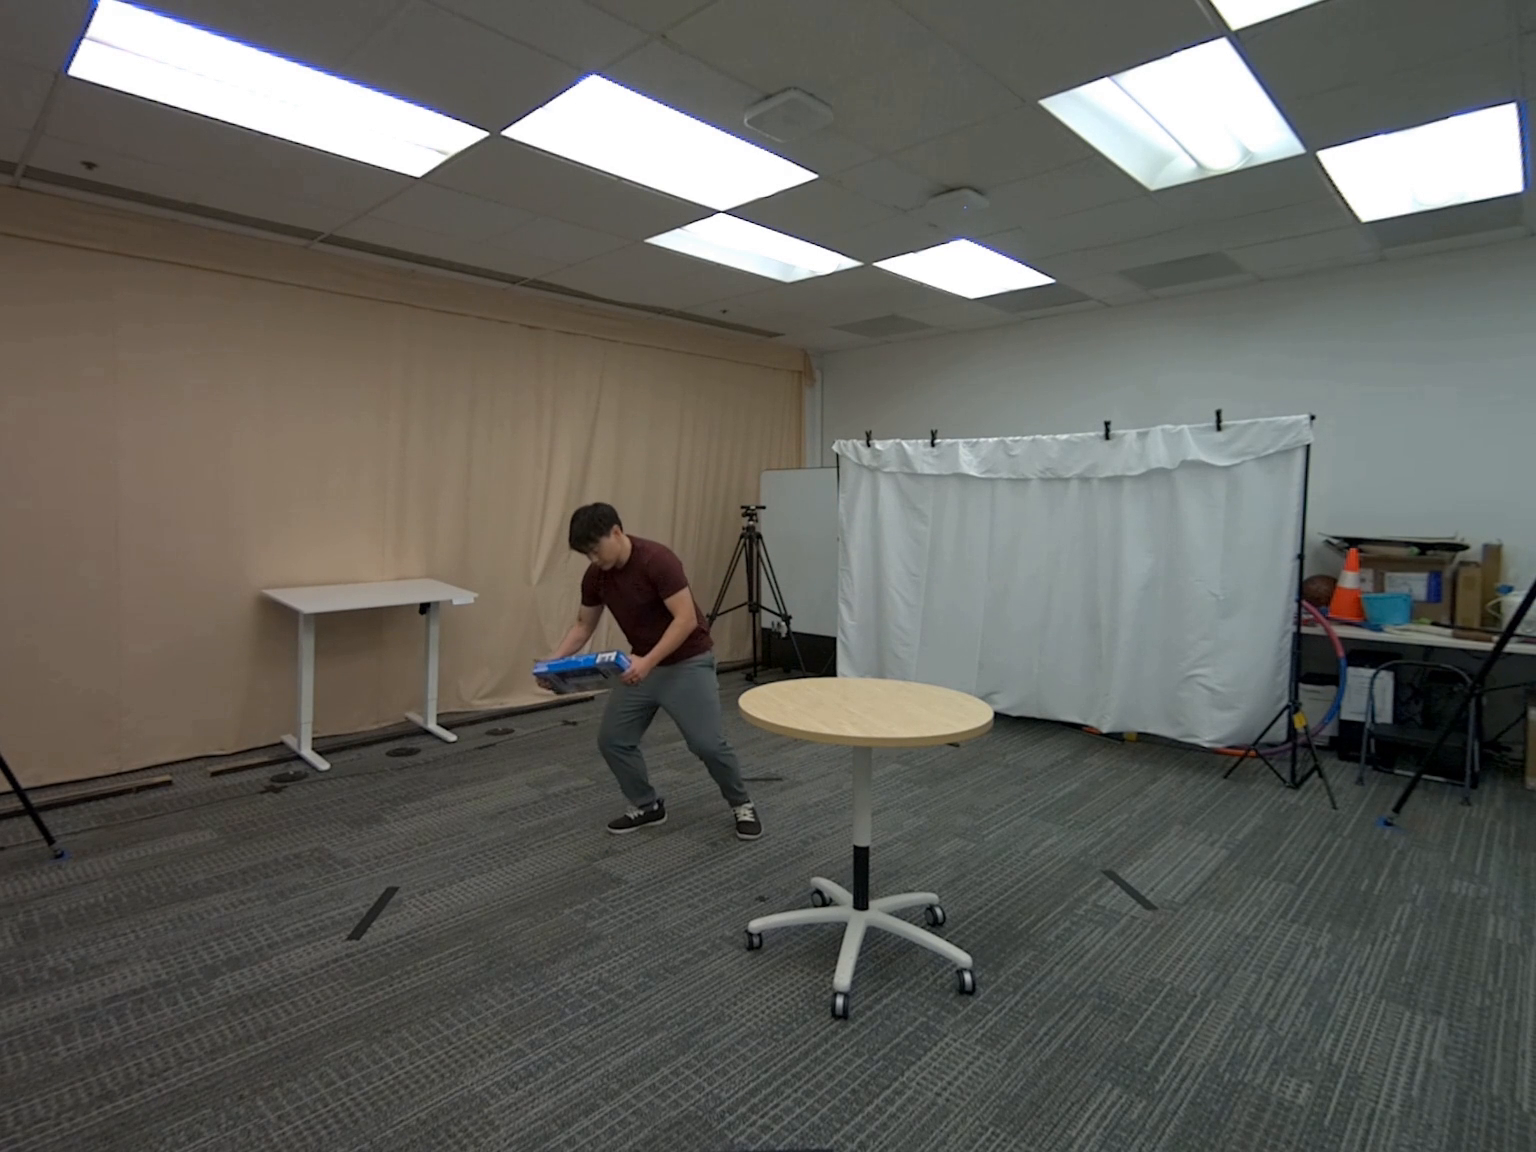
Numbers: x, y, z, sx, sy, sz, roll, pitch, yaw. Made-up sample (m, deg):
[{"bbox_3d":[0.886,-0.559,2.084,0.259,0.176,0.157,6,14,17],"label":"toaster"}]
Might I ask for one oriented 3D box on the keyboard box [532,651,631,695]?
[{"bbox_3d":[-0.727,0.404,3.378,0.448,0.059,0.170,-10,-44,31],"label":"keyboard box"}]
